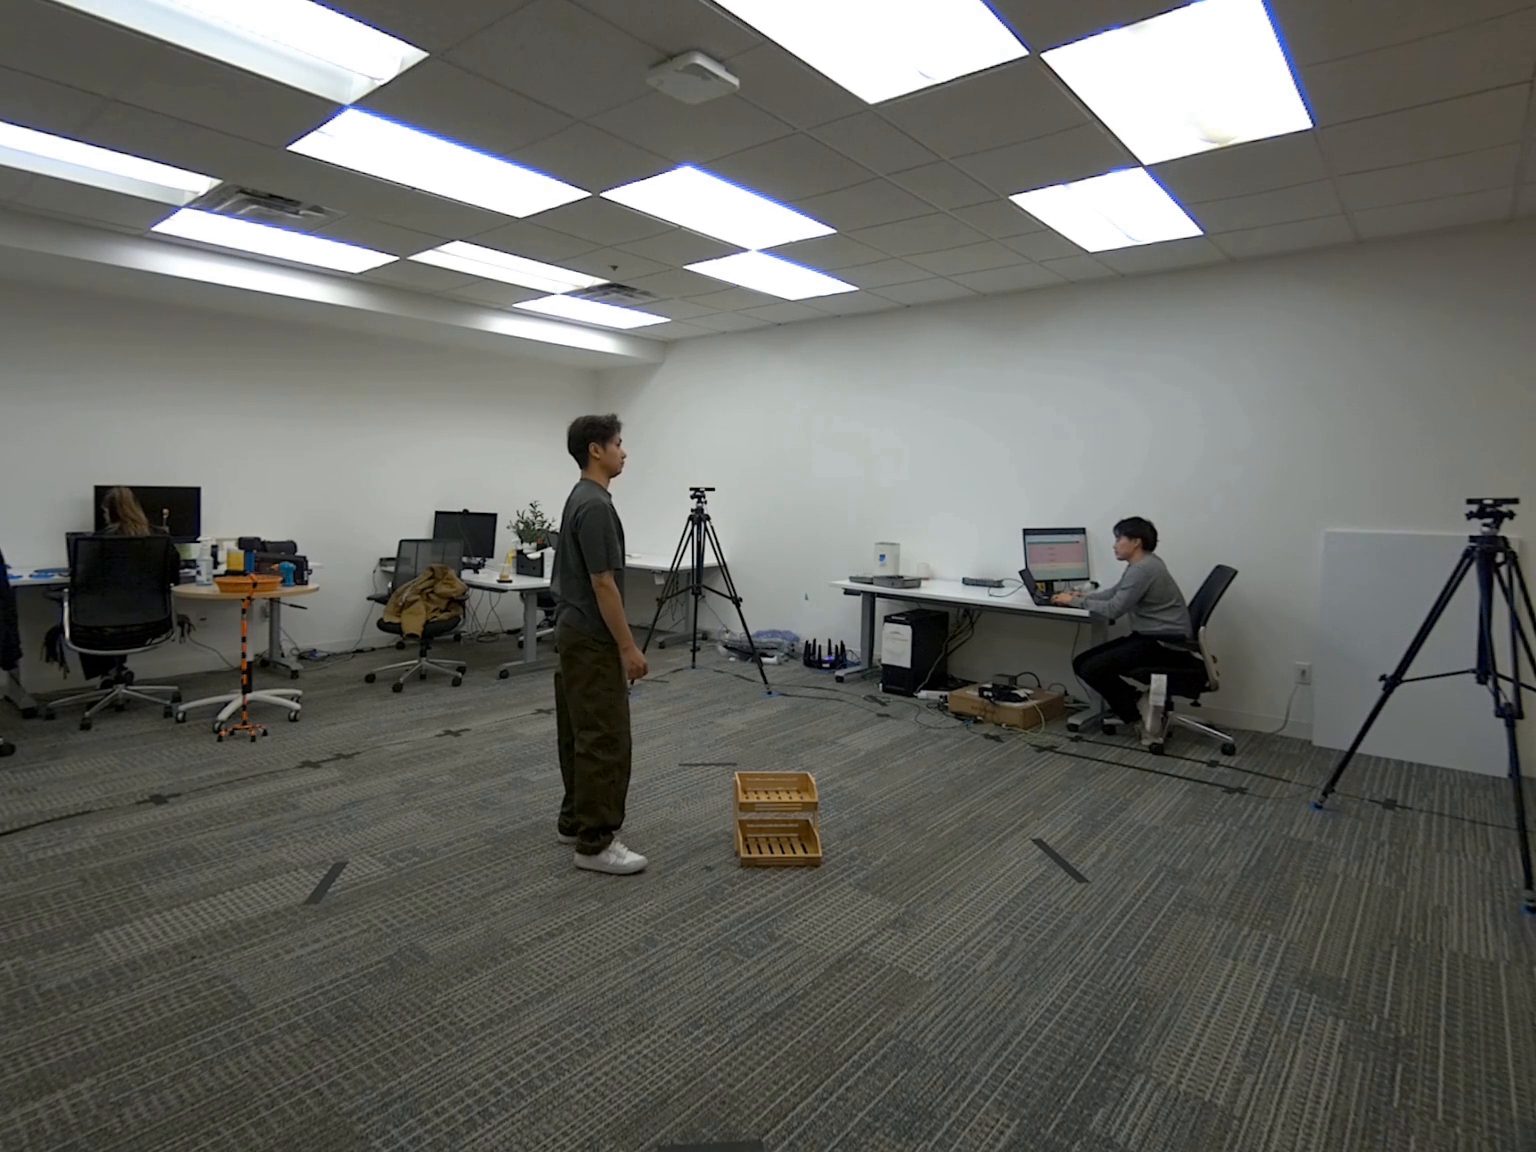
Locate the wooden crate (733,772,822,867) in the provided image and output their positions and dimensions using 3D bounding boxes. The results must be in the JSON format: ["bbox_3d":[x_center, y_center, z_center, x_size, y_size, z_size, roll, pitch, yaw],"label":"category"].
[{"bbox_3d":[0.029,0.923,3.252,0.322,0.272,0.305,0,4,-8],"label":"wooden crate"}]
